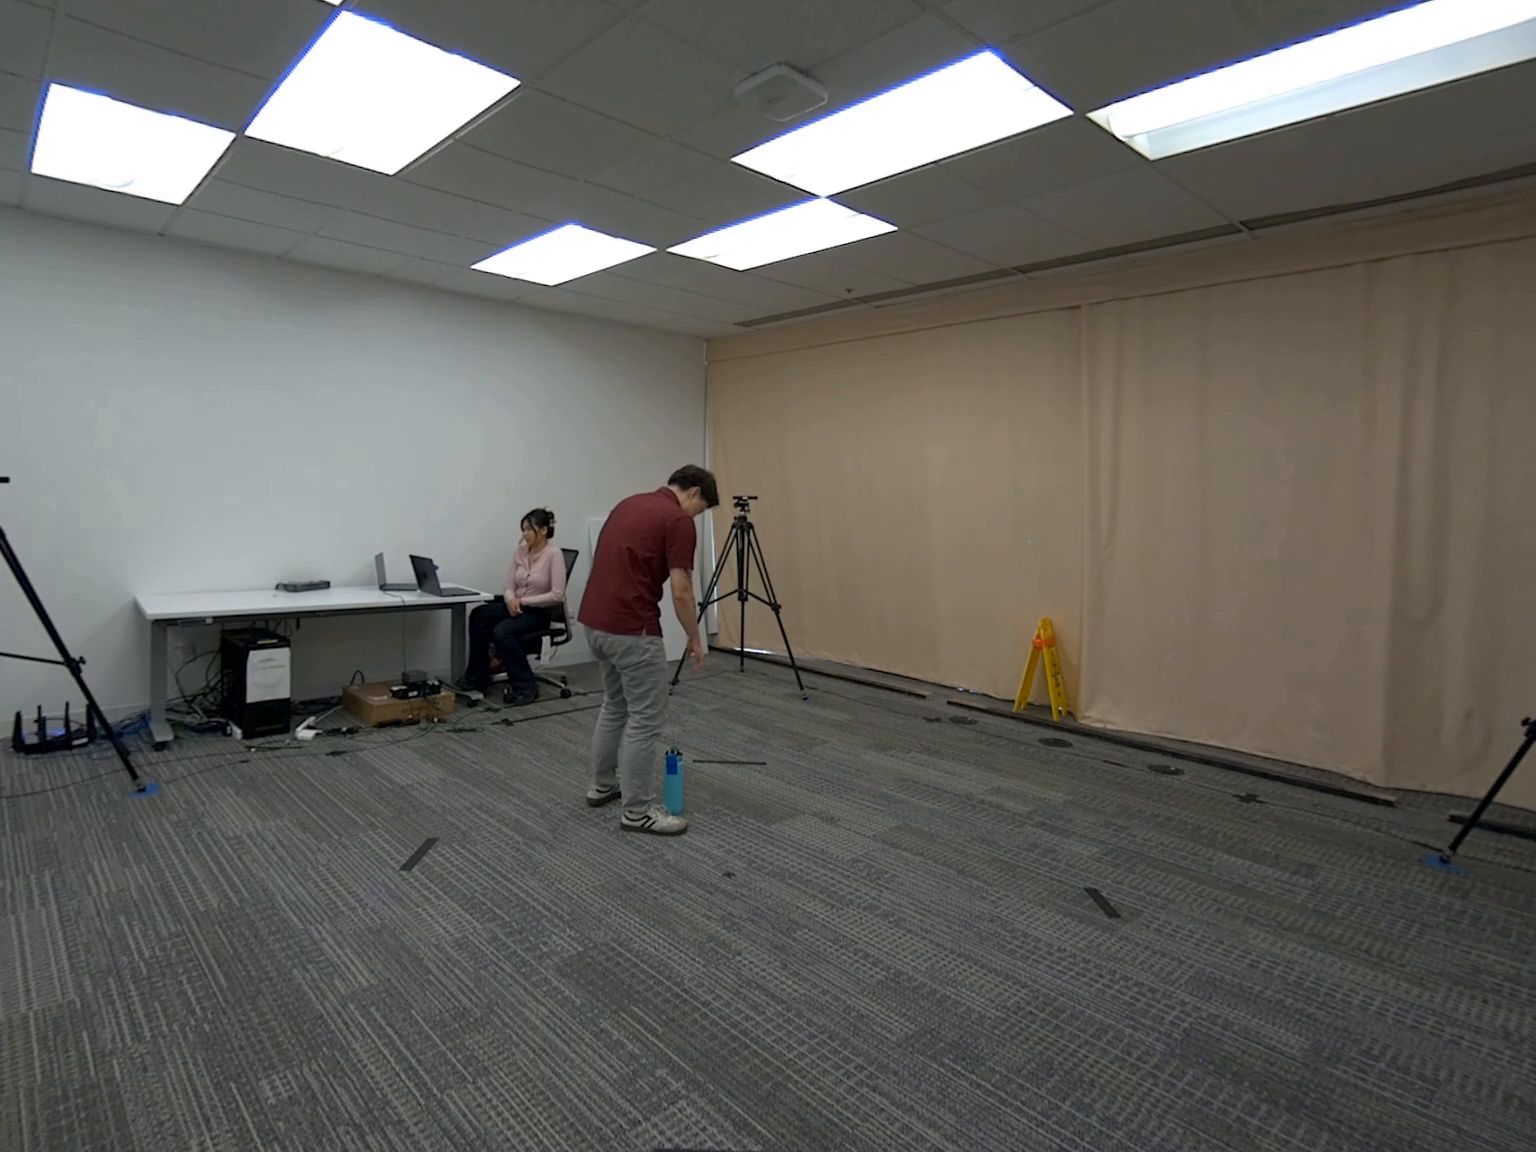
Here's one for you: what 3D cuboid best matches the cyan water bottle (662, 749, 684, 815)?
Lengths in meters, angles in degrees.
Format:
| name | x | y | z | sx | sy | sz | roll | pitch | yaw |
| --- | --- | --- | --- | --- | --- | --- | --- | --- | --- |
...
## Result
| name | x | y | z | sx | sy | sz | roll | pitch | yaw |
| --- | --- | --- | --- | --- | --- | --- | --- | --- | --- |
| cyan water bottle | -0.428 | 0.905 | 3.723 | 0.092 | 0.283 | 0.092 | 2 | 3 | -1 |
